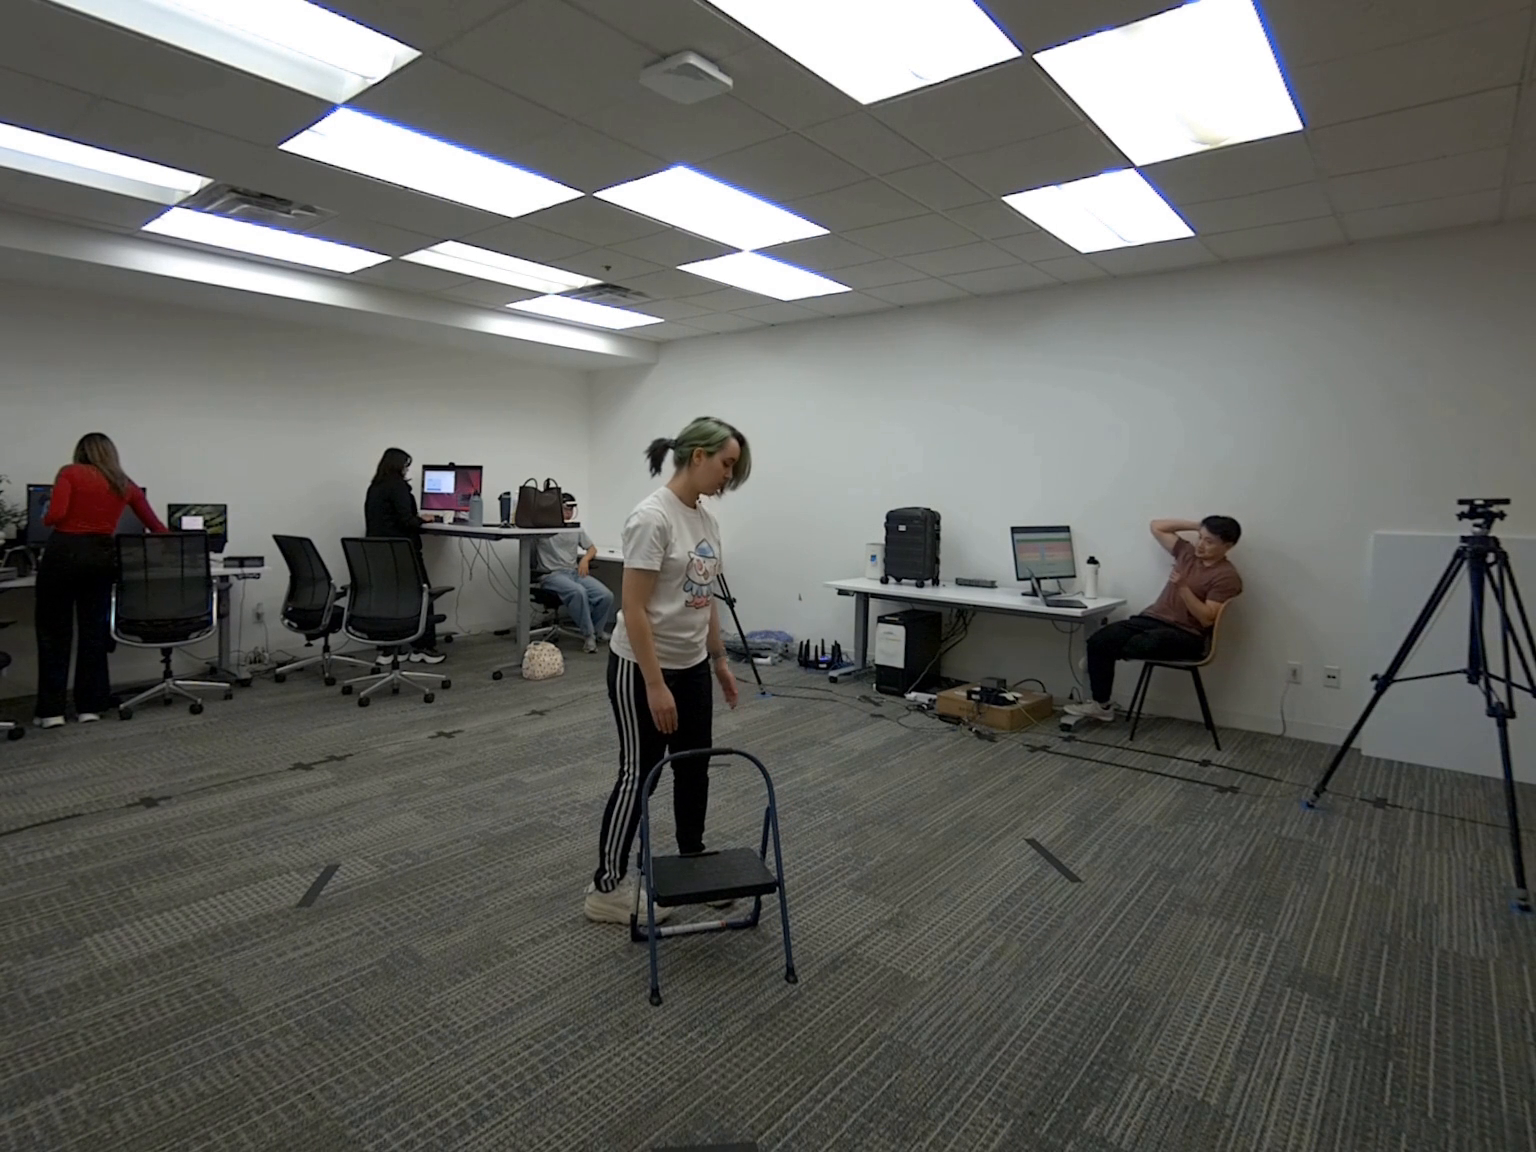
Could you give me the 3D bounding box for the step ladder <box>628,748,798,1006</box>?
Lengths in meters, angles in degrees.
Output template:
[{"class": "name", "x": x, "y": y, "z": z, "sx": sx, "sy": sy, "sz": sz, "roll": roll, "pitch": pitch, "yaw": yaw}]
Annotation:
[{"class": "step ladder", "x": -0.171, "y": 0.830, "z": 2.493, "sx": 0.422, "sy": 0.604, "sz": 0.357, "roll": 0, "pitch": 4, "yaw": -19}]
